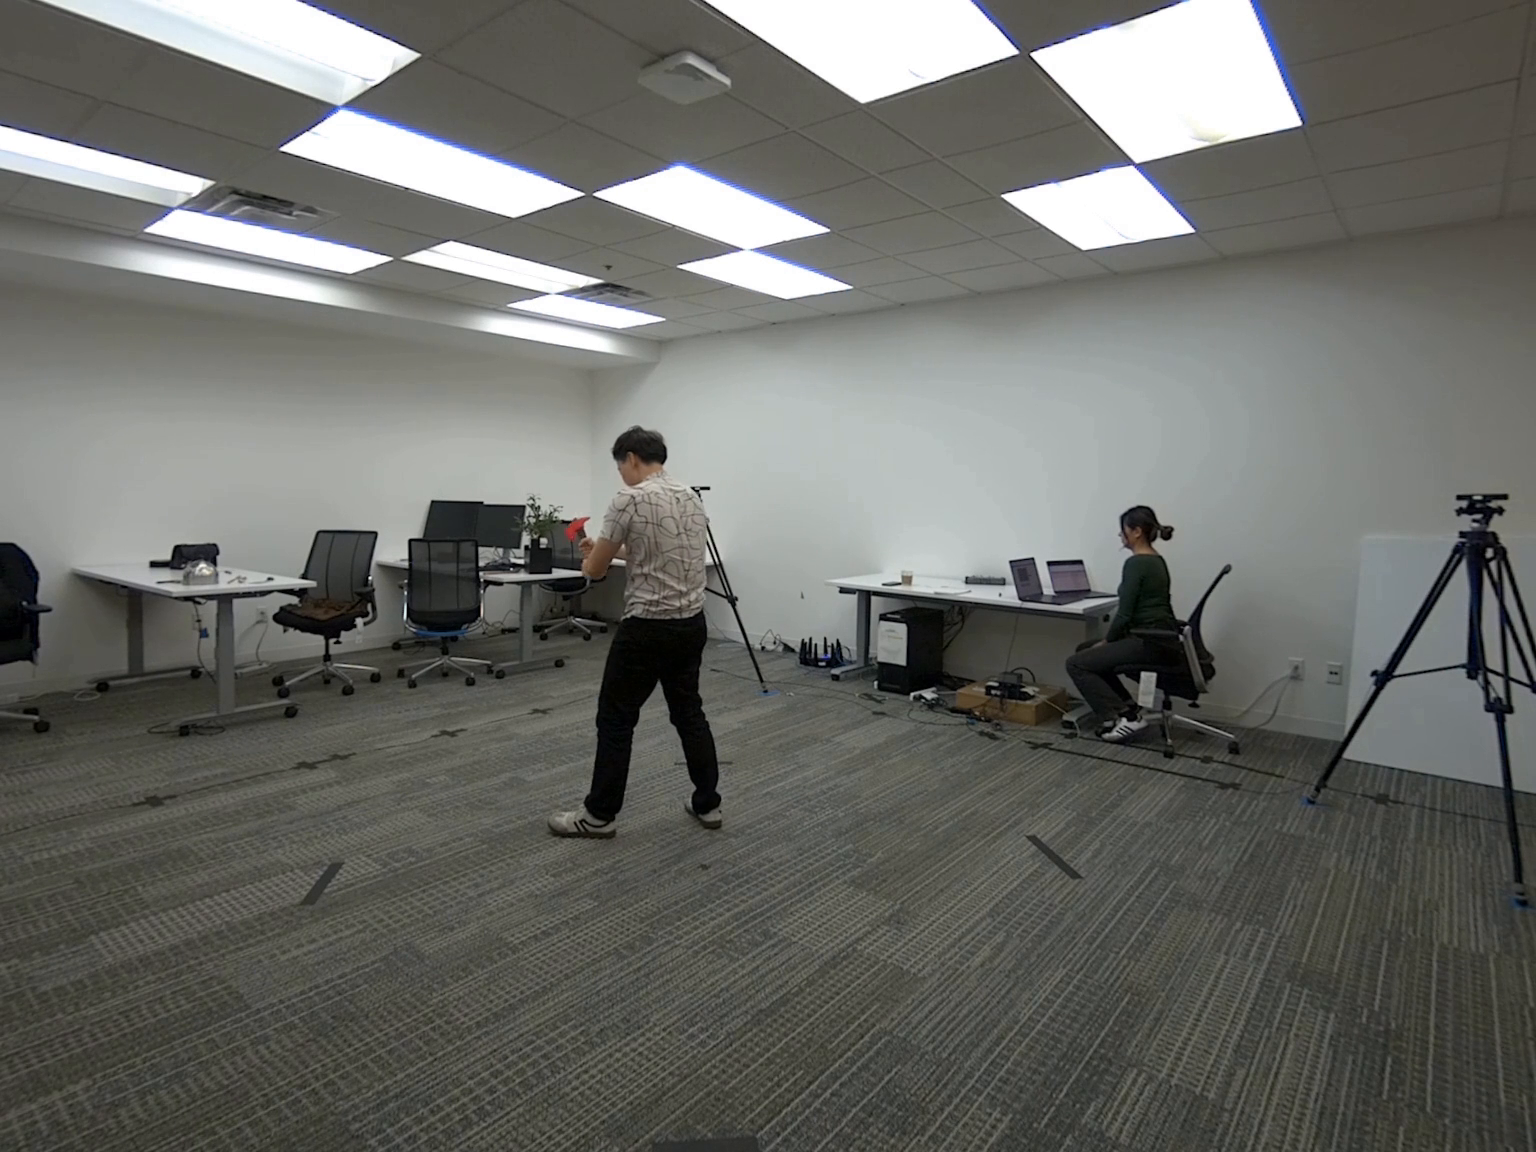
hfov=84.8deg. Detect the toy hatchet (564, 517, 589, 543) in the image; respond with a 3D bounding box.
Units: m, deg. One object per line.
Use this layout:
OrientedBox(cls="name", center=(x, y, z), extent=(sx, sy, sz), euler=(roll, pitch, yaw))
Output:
OrientedBox(cls="toy hatchet", center=(-0.815, -0.126, 3.665), extent=(0.132, 0.273, 0.029), euler=(-15, -9, 12))
